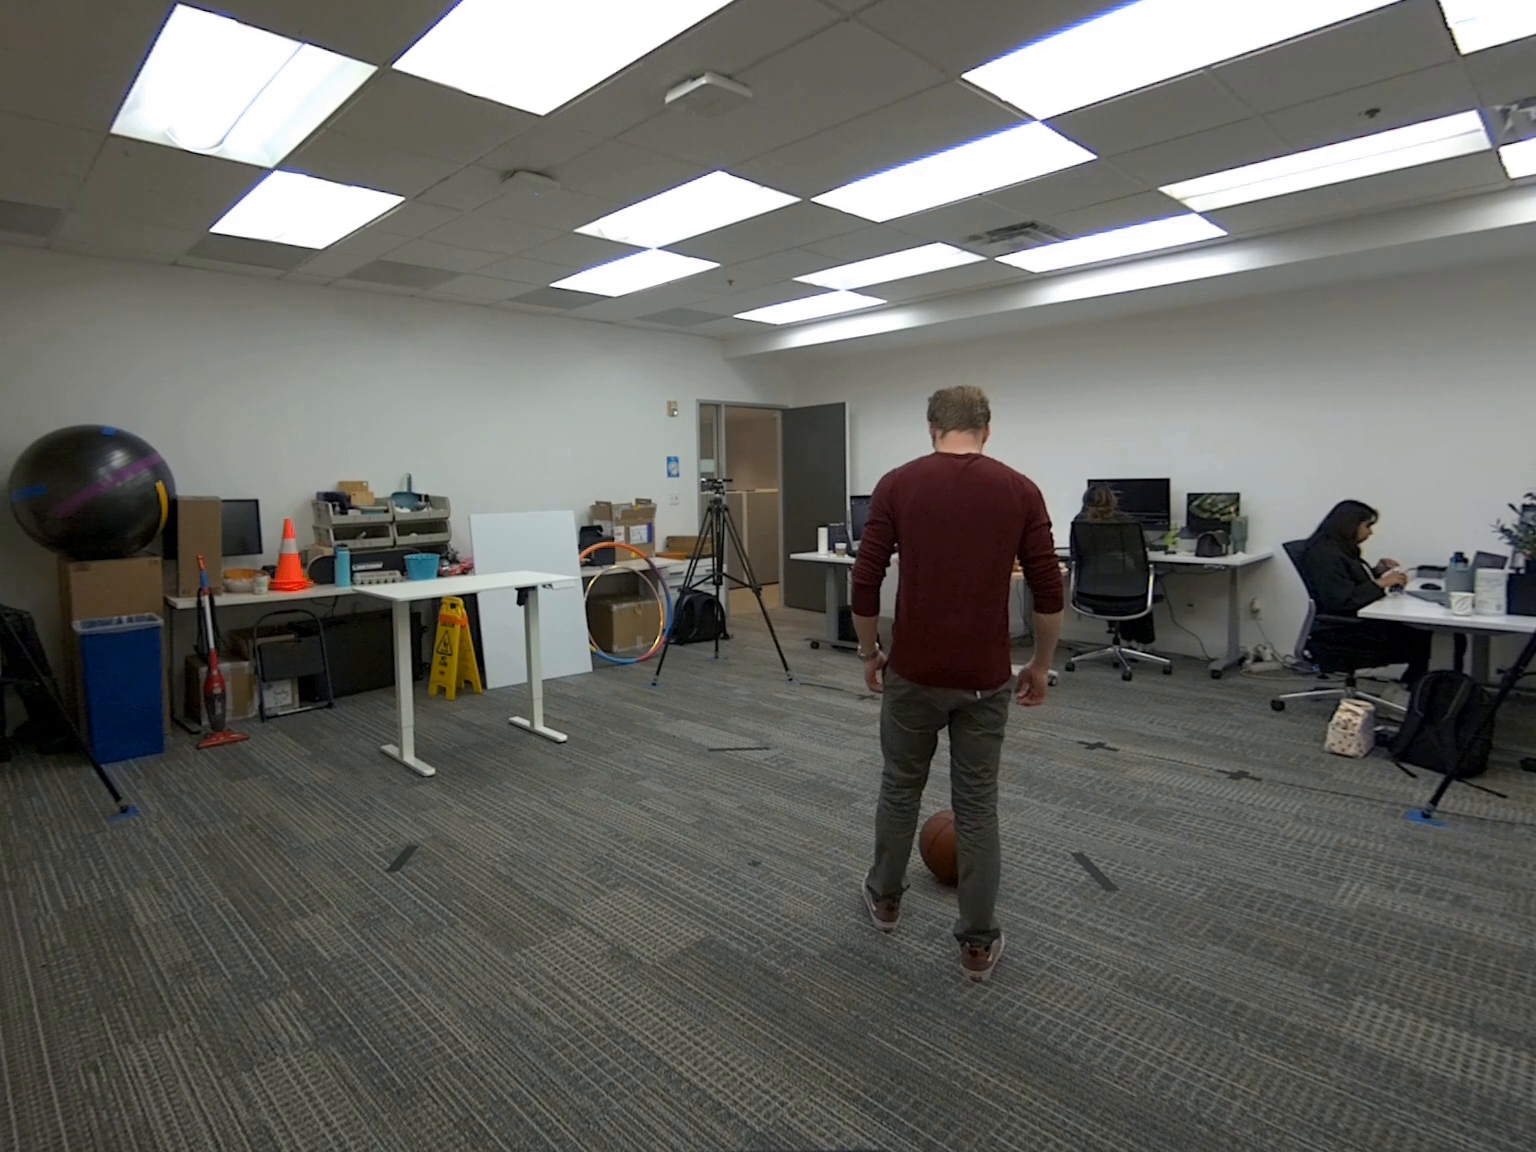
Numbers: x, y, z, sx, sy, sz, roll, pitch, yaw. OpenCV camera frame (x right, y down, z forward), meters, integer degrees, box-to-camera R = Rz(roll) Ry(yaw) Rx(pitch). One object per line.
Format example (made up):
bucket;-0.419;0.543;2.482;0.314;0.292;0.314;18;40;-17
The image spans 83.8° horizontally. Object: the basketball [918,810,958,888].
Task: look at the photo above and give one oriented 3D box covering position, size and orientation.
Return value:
basketball;0.646;0.928;2.948;0.236;0.235;0.237;-1;5;-2
